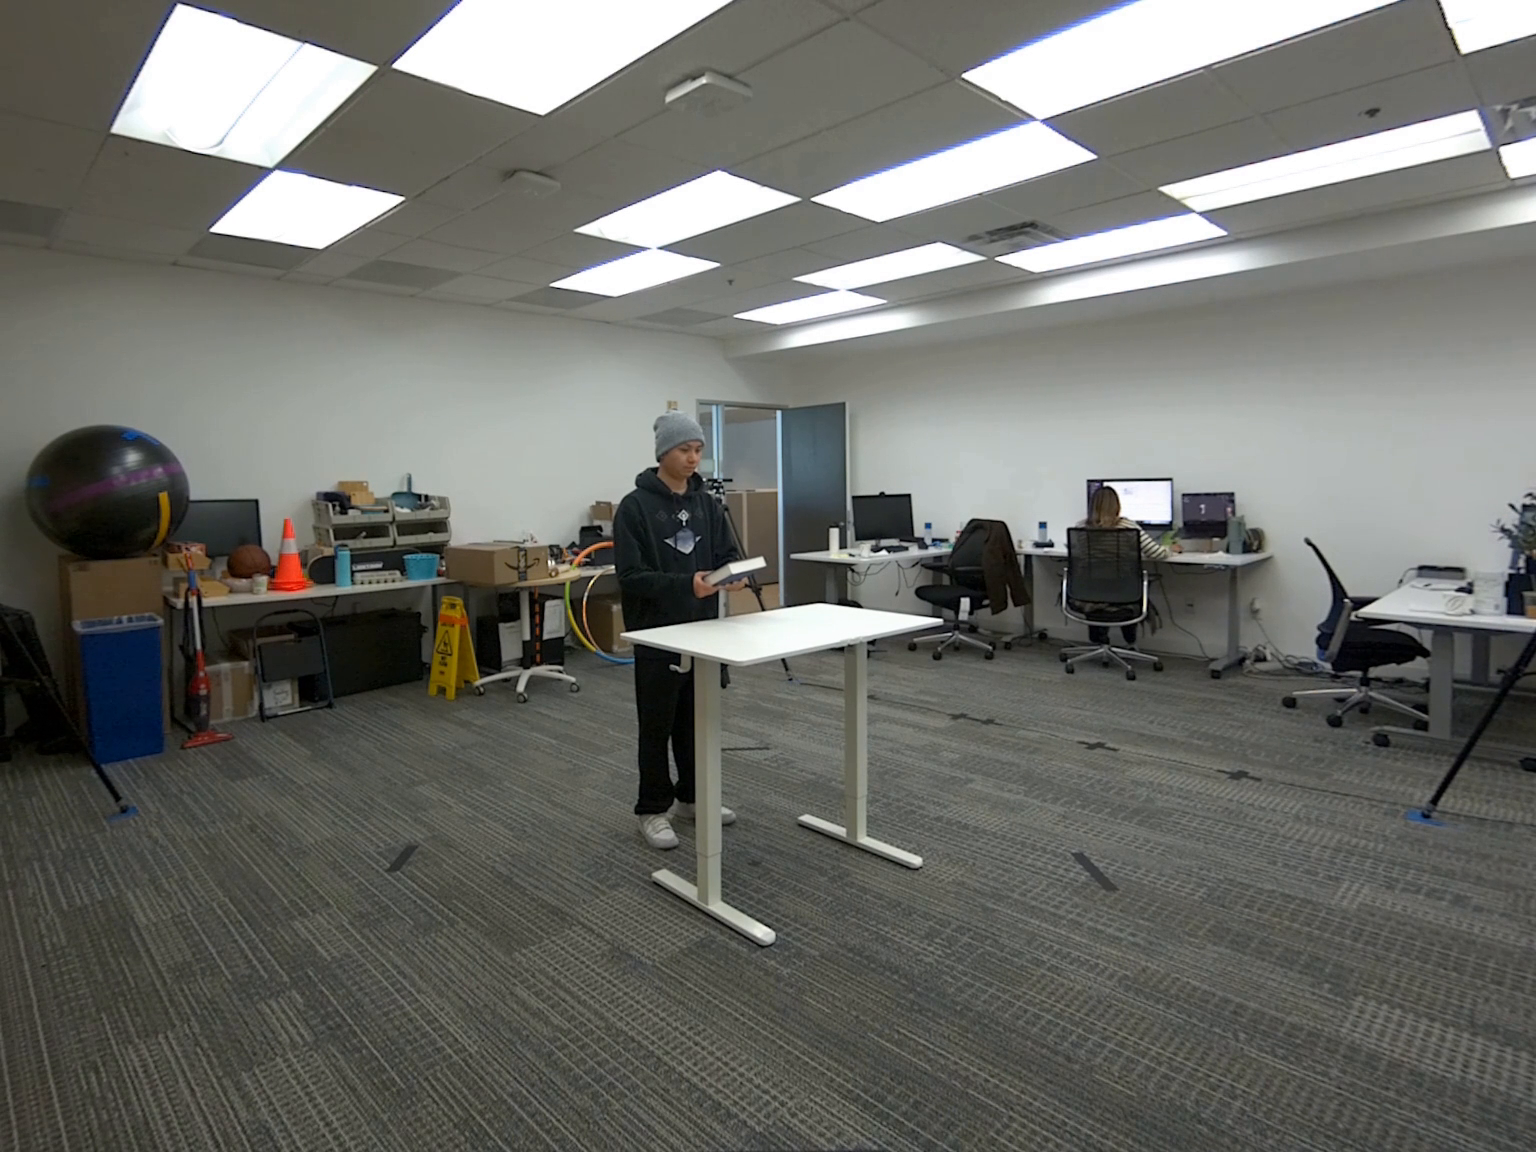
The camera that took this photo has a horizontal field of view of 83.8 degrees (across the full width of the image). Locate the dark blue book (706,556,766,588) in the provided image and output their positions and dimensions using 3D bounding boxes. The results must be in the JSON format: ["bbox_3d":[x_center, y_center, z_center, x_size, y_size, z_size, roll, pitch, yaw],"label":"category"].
[{"bbox_3d":[-0.132,-0.009,3.101,0.160,0.045,0.248,-13,-7,-39],"label":"dark blue book"}]
